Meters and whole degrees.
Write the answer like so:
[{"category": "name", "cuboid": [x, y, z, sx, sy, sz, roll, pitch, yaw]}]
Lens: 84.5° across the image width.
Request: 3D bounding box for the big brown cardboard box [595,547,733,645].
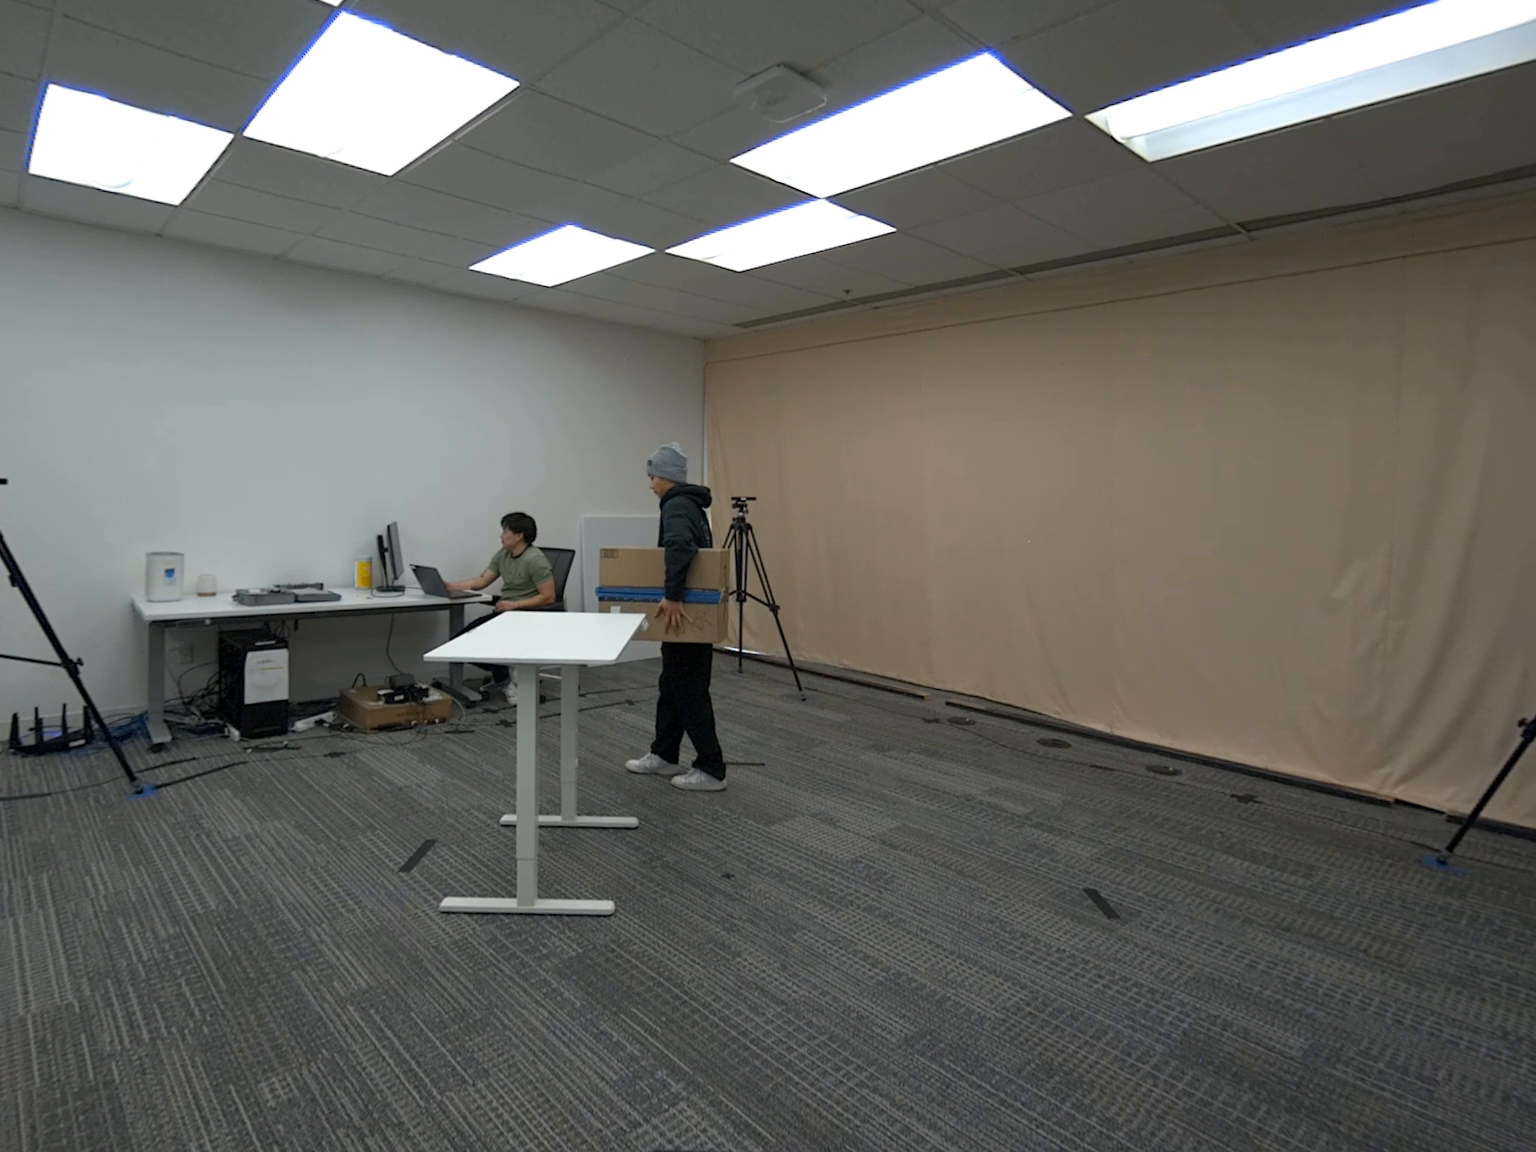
[{"category": "big brown cardboard box", "cuboid": [-0.490, 0.074, 3.875, 0.593, 0.417, 0.232, 1, 3, 9]}]
